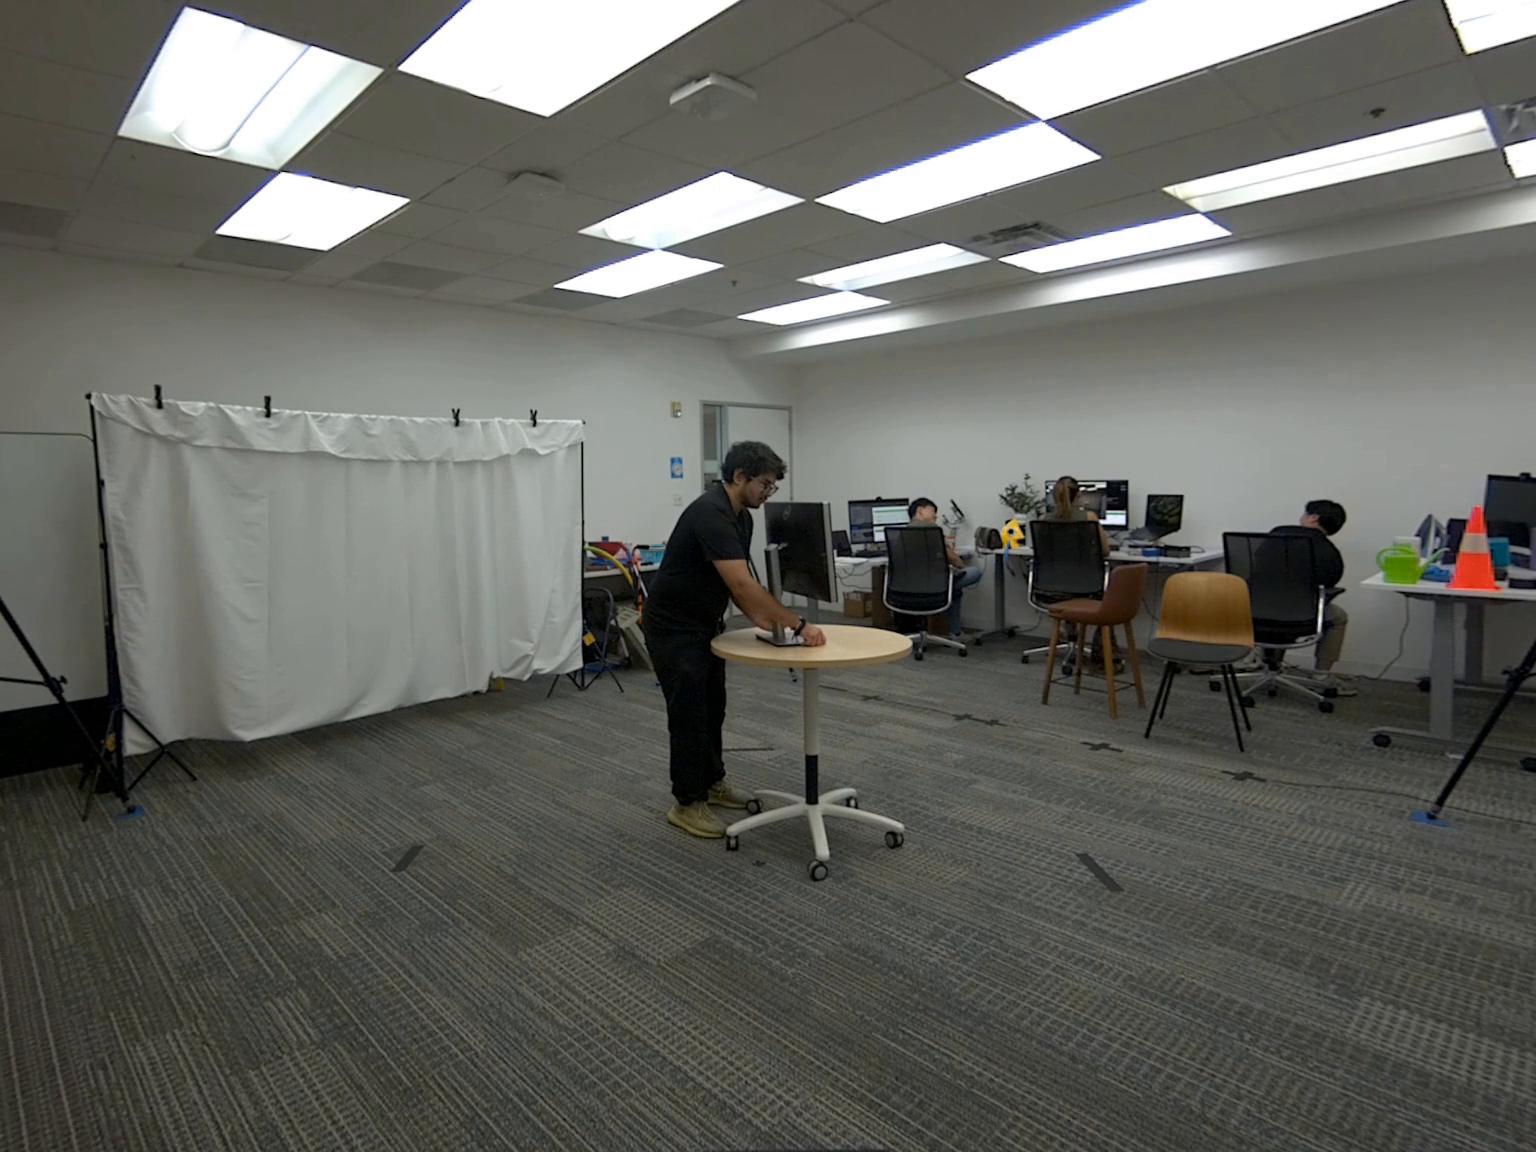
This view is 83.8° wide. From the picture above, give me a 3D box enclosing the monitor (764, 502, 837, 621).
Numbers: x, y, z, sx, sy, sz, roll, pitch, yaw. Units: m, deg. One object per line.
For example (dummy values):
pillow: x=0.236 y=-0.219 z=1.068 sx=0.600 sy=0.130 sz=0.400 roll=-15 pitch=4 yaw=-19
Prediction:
monitor: x=0.056 y=-0.015 z=3.275 sx=0.206 sy=0.552 sz=0.578 roll=-4 pitch=6 yaw=-21
